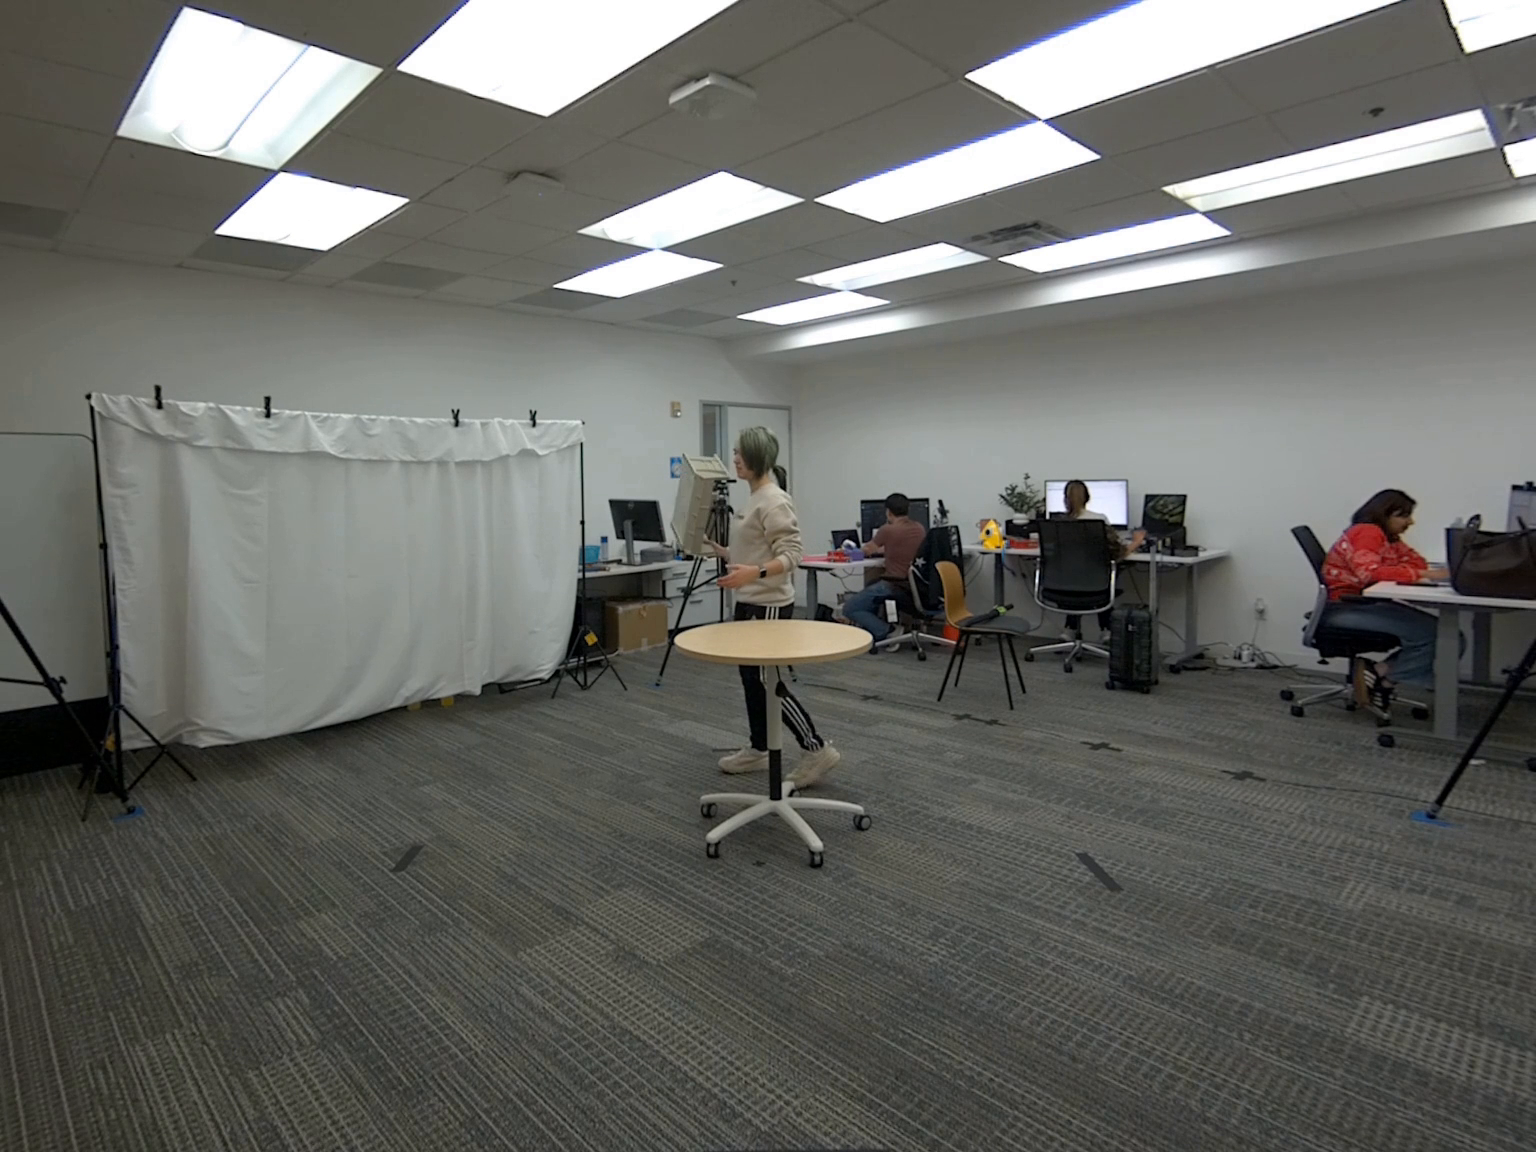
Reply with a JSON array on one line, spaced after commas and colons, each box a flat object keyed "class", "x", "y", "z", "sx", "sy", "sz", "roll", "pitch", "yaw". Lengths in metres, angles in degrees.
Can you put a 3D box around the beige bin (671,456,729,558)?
[{"class": "beige bin", "x": -0.336, "y": -0.364, "z": 4.297, "sx": 0.186, "sy": 0.416, "sz": 0.390, "roll": 4, "pitch": 24, "yaw": -18}]
